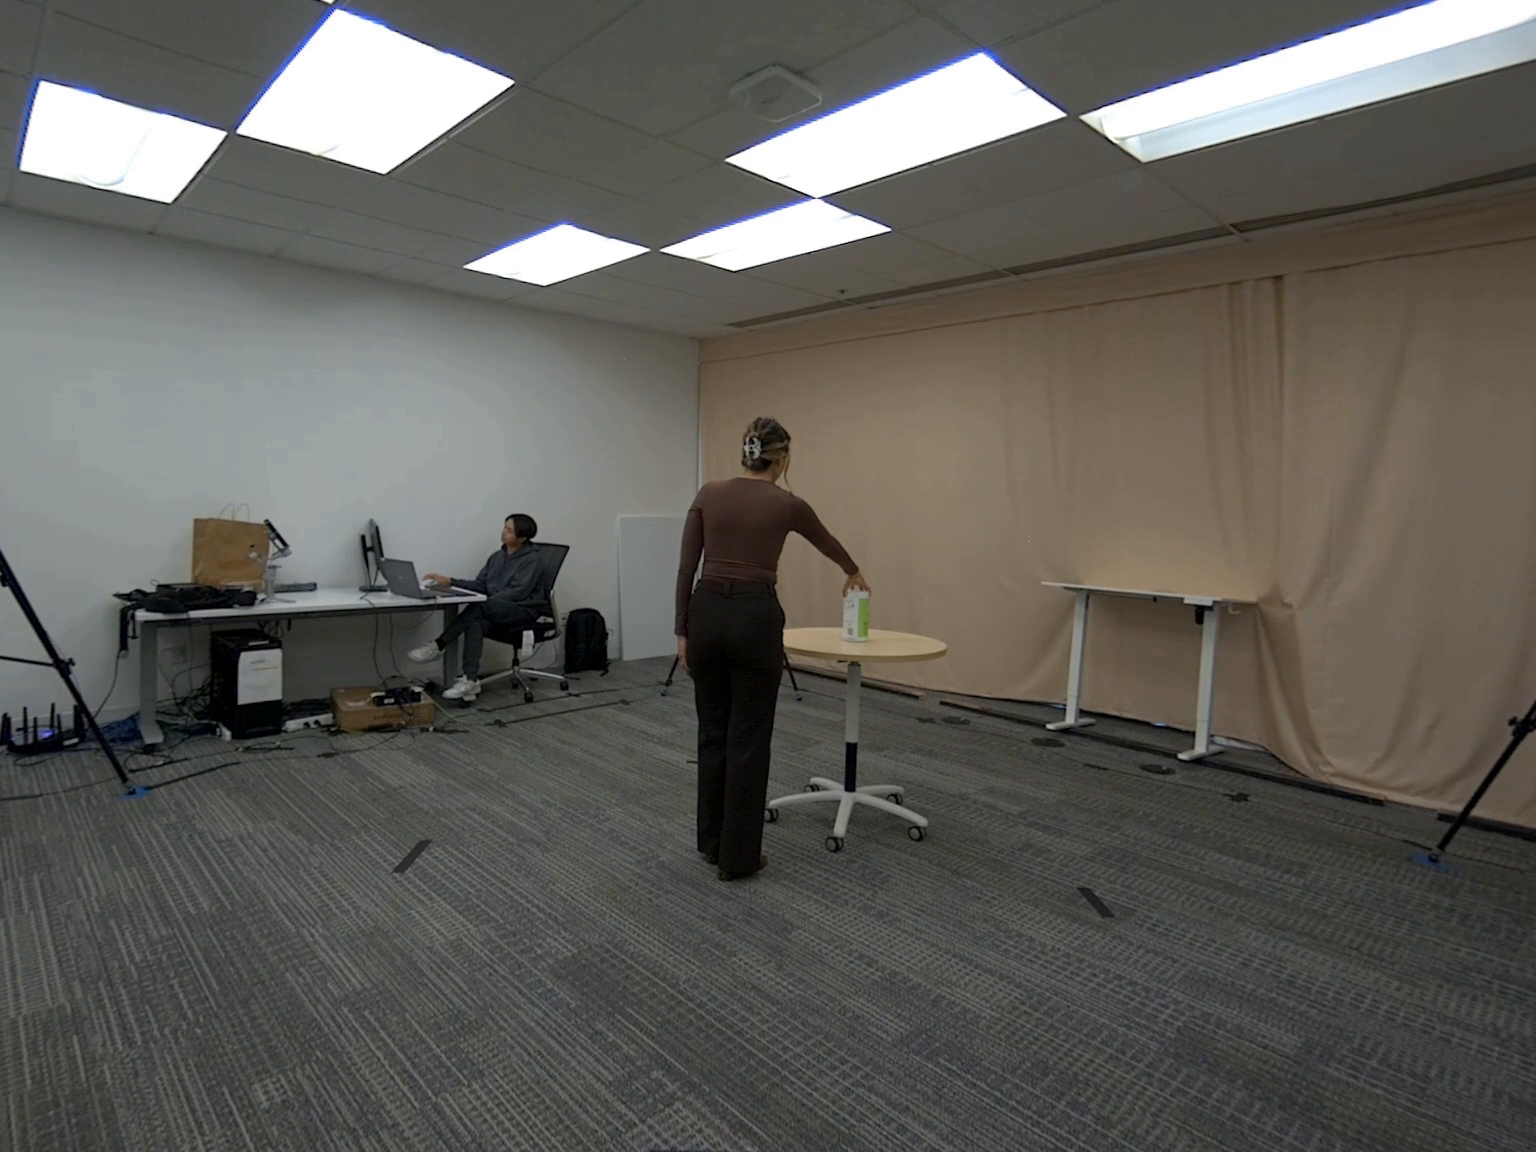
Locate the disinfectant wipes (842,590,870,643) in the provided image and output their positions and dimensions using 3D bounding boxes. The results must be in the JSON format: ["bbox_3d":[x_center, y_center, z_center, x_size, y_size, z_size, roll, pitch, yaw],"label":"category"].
[{"bbox_3d":[0.373,0.171,3.617,0.118,0.217,0.118,1,3,-1],"label":"disinfectant wipes"}]
